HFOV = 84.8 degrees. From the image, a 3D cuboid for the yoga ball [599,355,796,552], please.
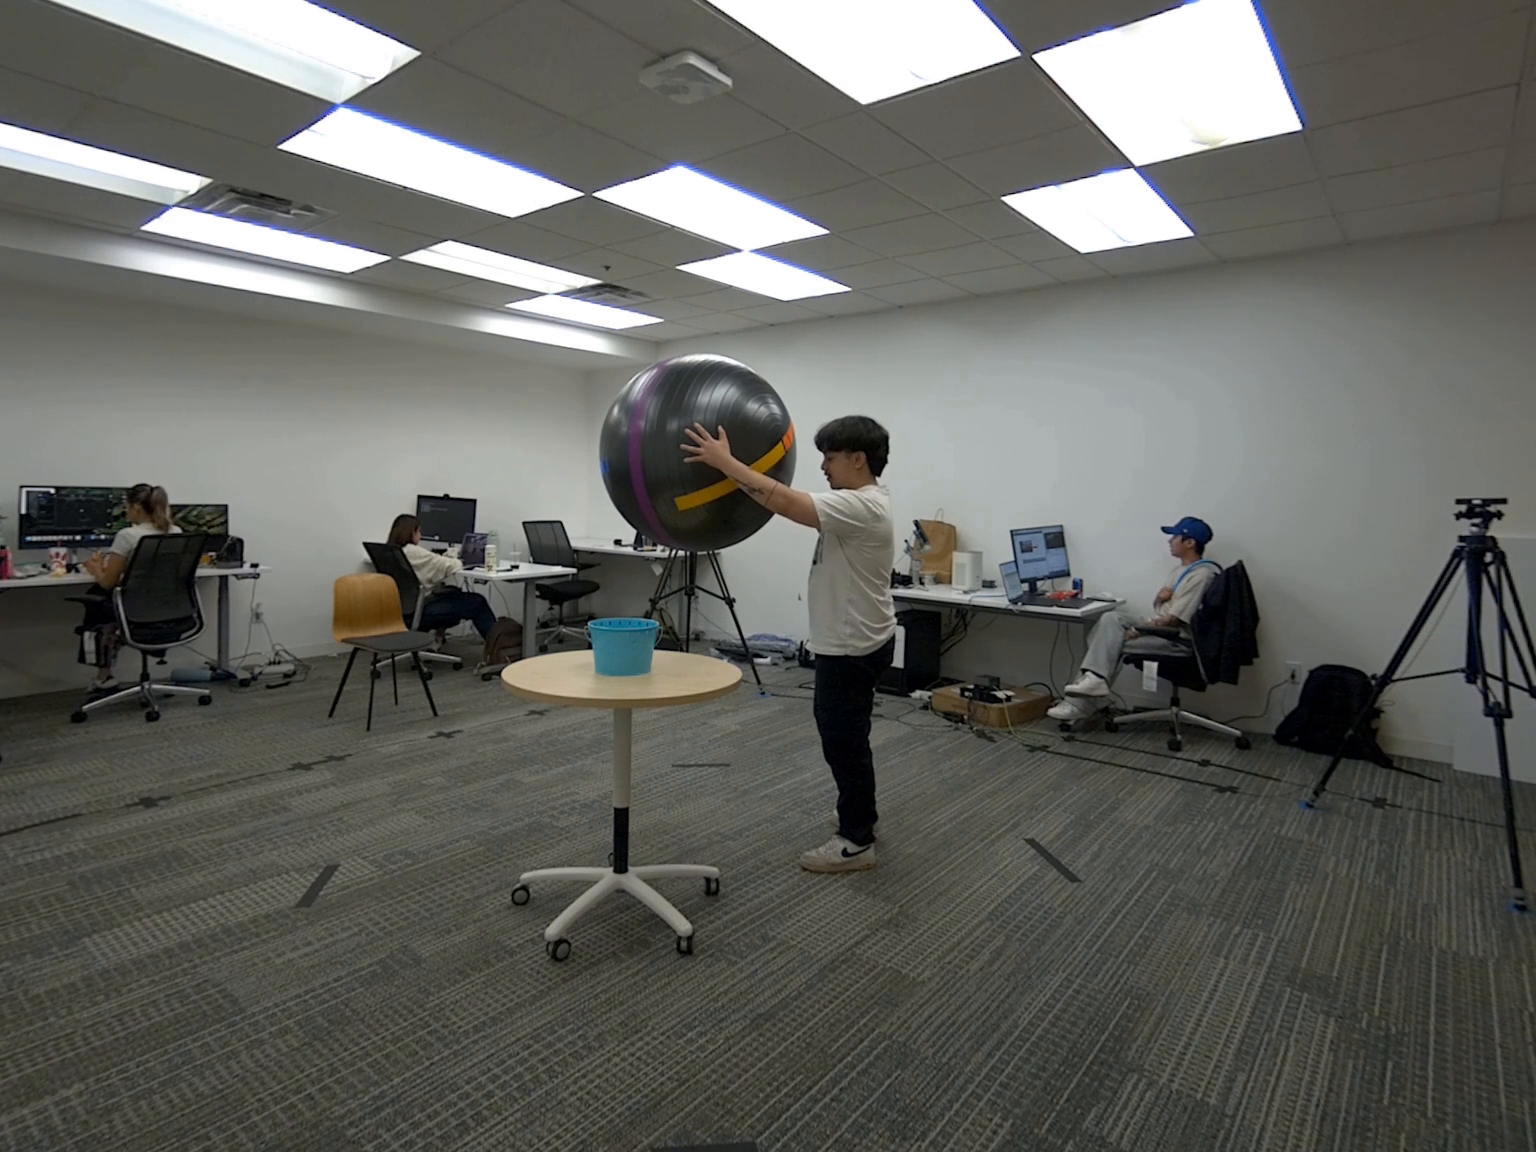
[{"bbox_3d":[-0.281,-0.466,3.286,0.757,0.756,0.761,1,4,-2],"label":"yoga ball"}]
